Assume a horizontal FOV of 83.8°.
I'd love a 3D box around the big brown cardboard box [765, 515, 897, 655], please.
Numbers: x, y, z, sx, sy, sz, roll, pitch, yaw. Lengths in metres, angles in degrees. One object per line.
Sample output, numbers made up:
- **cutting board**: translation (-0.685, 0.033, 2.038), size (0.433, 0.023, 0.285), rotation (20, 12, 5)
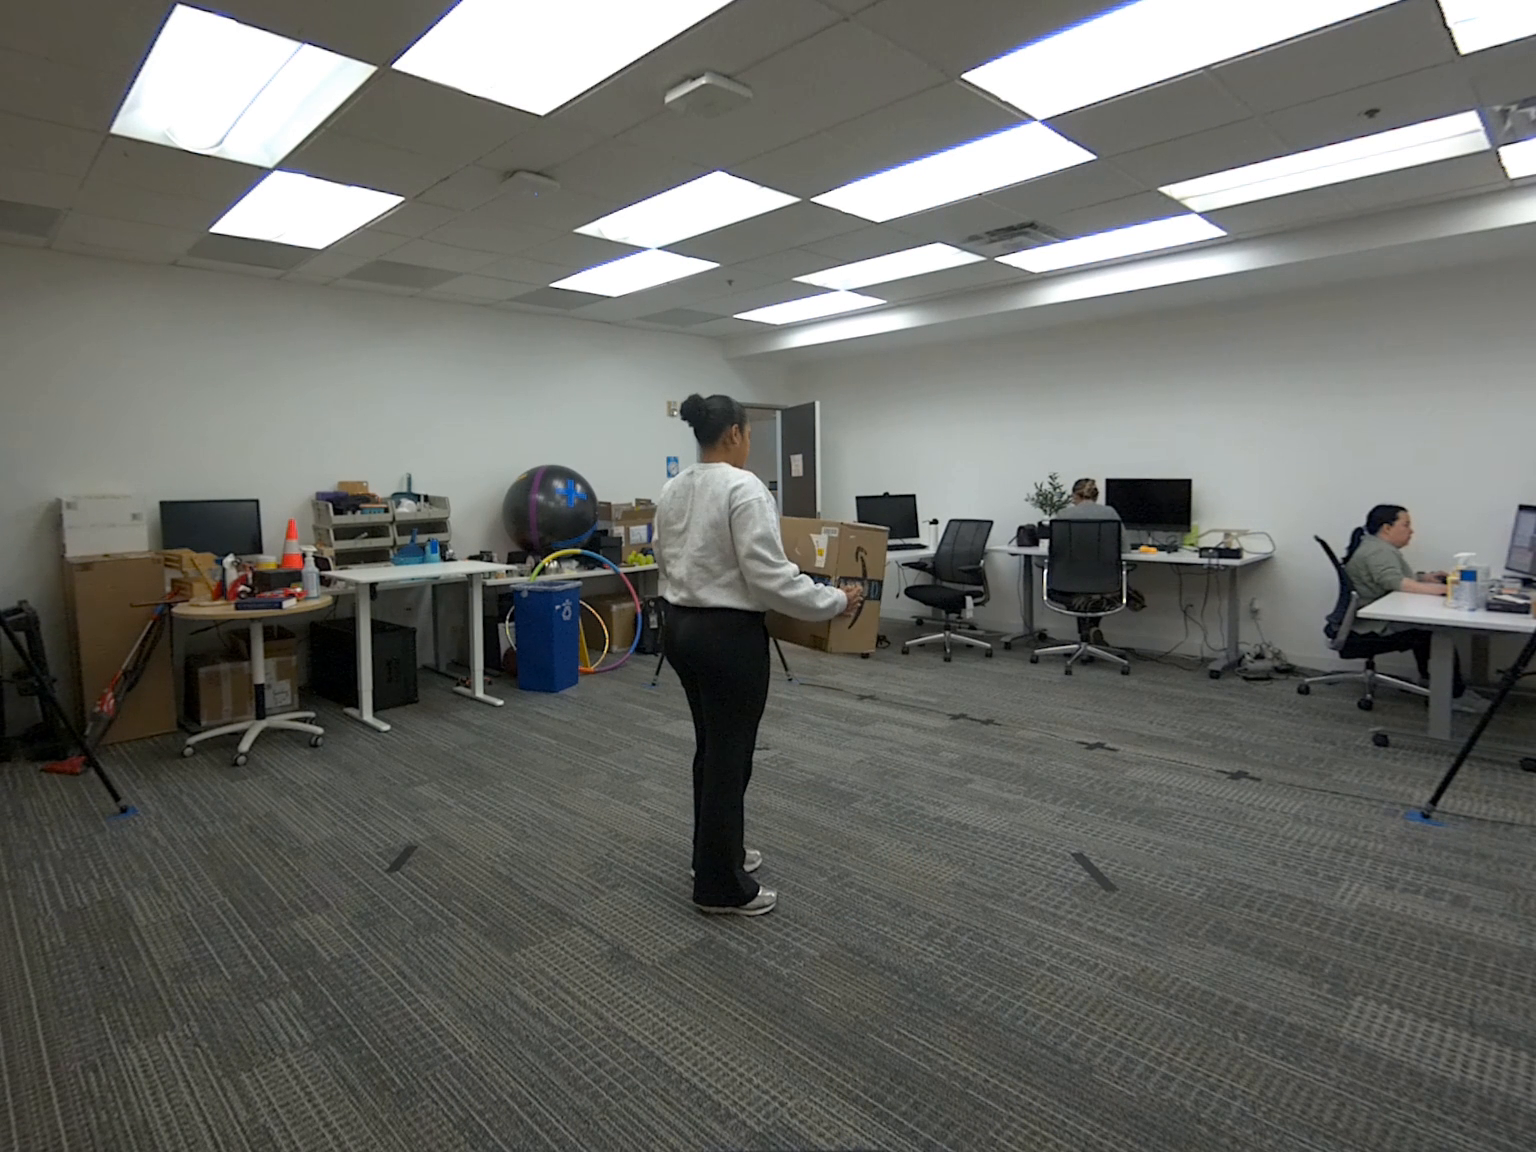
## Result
- **big brown cardboard box**: translation (0.126, 0.006, 2.962), size (0.226, 0.417, 0.607), rotation (4, 3, -36)
